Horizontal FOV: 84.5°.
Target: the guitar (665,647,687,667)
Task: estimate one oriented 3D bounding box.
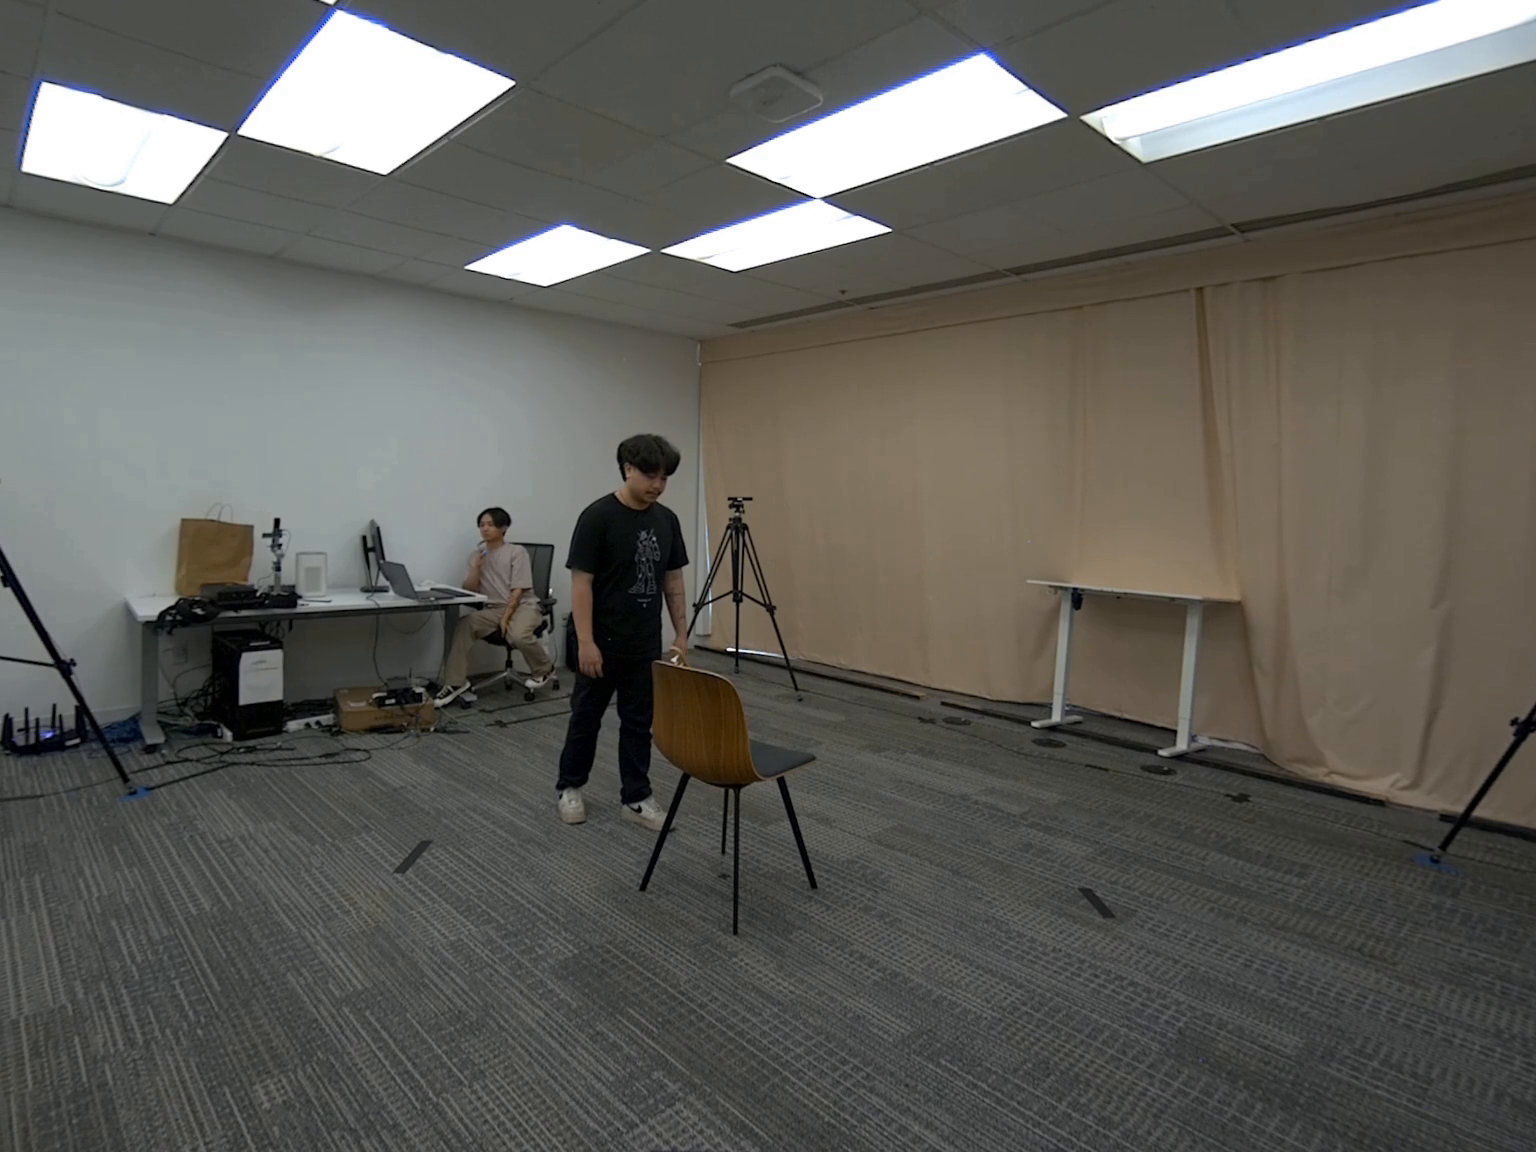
[{"bbox_3d":[-0.245,0.441,2.883,0.198,0.486,0.070,3,39,46],"label":"guitar"}]
